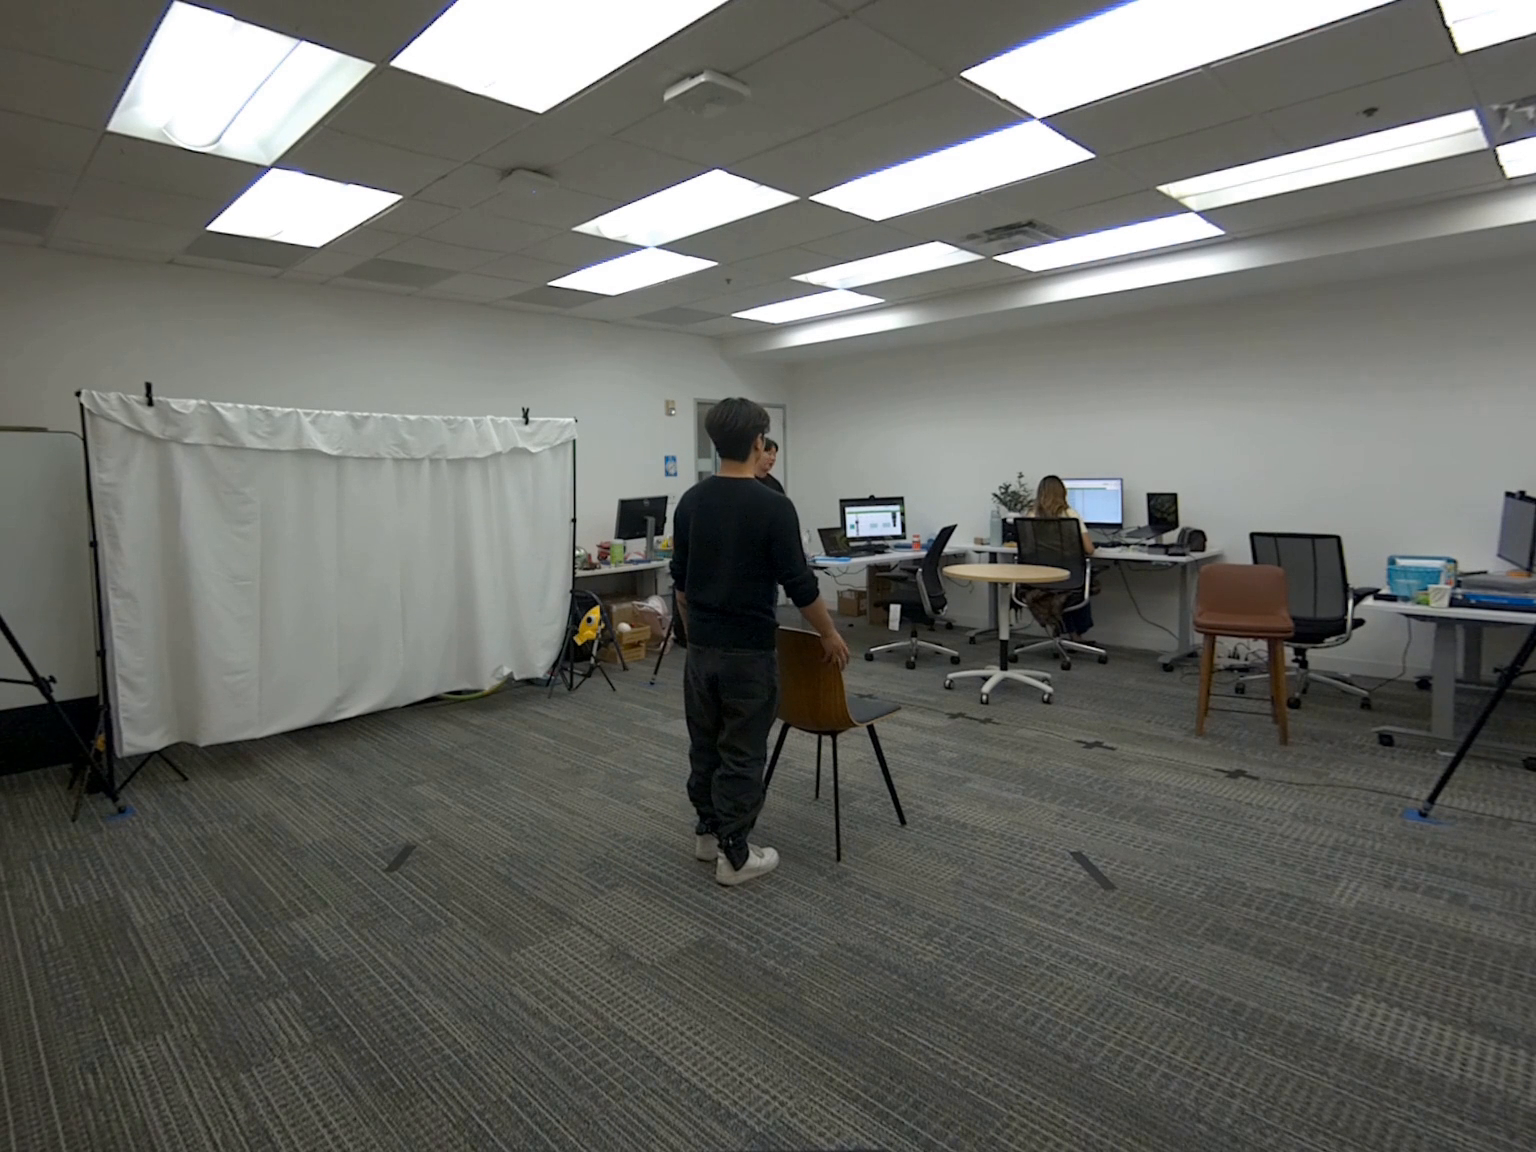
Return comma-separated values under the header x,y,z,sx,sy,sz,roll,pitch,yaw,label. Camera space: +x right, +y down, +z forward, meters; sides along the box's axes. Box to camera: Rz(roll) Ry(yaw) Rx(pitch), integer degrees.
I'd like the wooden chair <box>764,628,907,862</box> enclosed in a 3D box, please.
x,y,z,sx,sy,sz,roll,pitch,yaw,label
0.235,0.576,3.393,0.492,0.871,0.511,3,10,42,wooden chair
